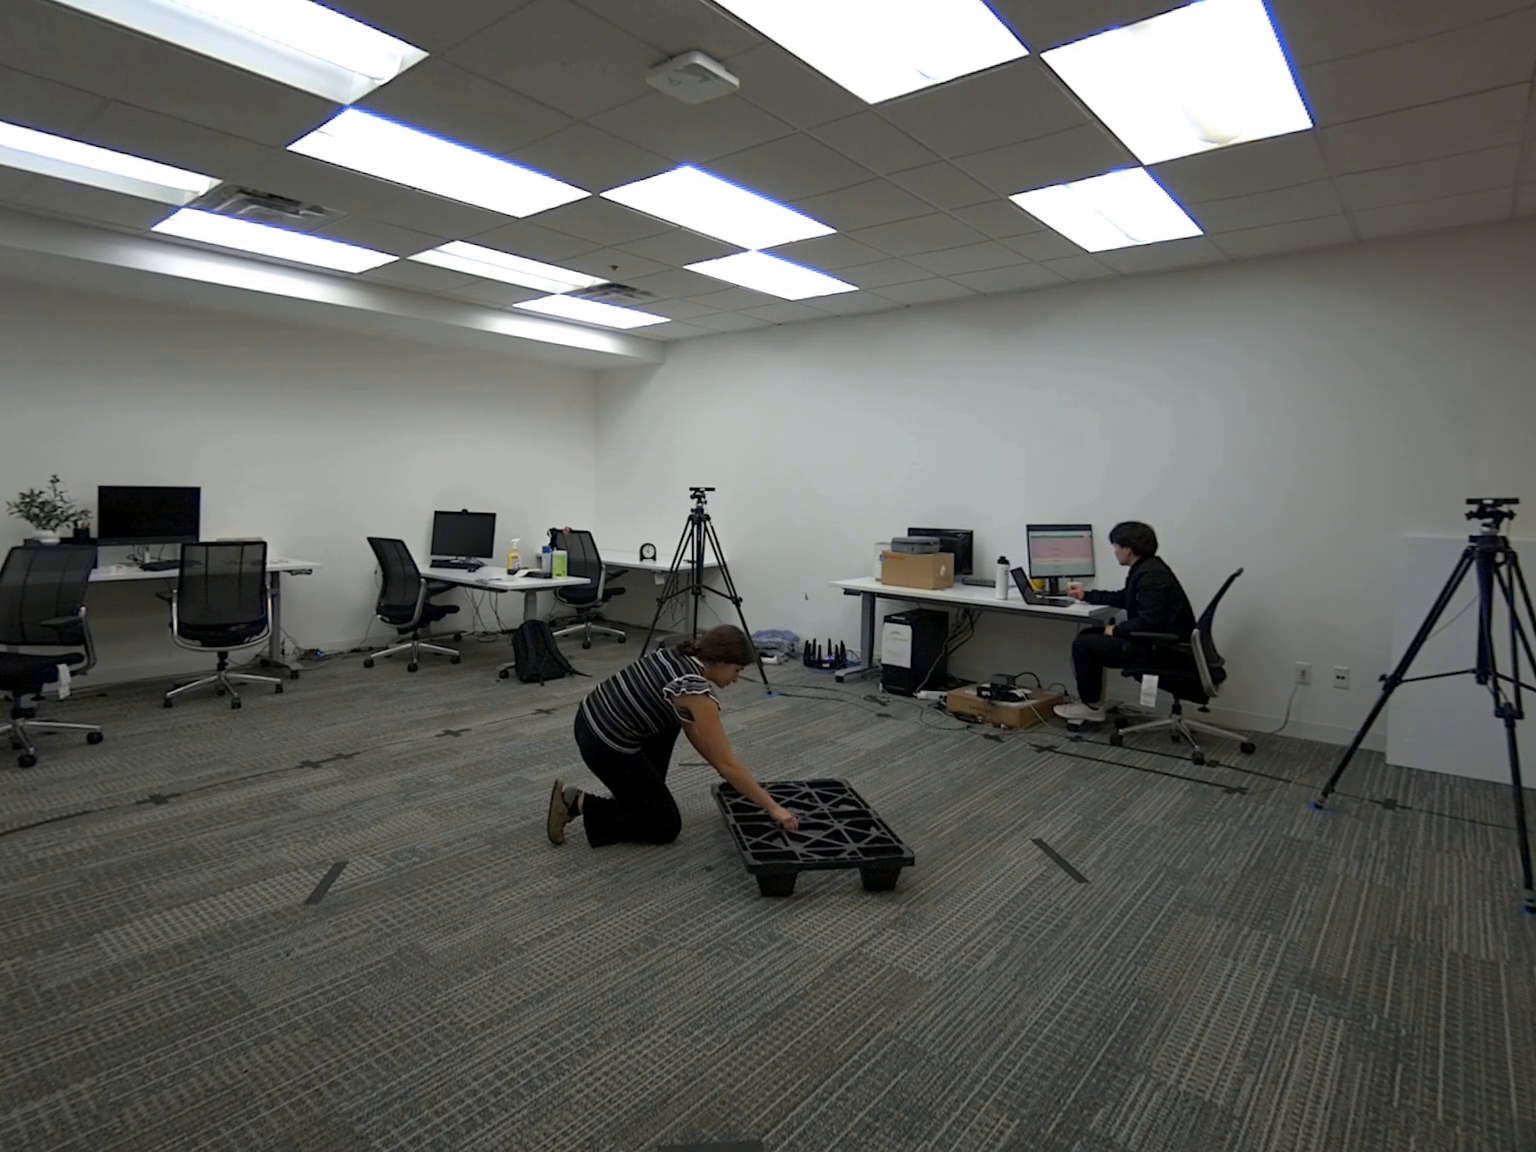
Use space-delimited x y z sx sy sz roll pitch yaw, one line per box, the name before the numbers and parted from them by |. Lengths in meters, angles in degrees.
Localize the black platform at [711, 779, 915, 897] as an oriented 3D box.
black platform | 0.122 0.988 3.285 0.598 0.143 0.818 0 6 -12
